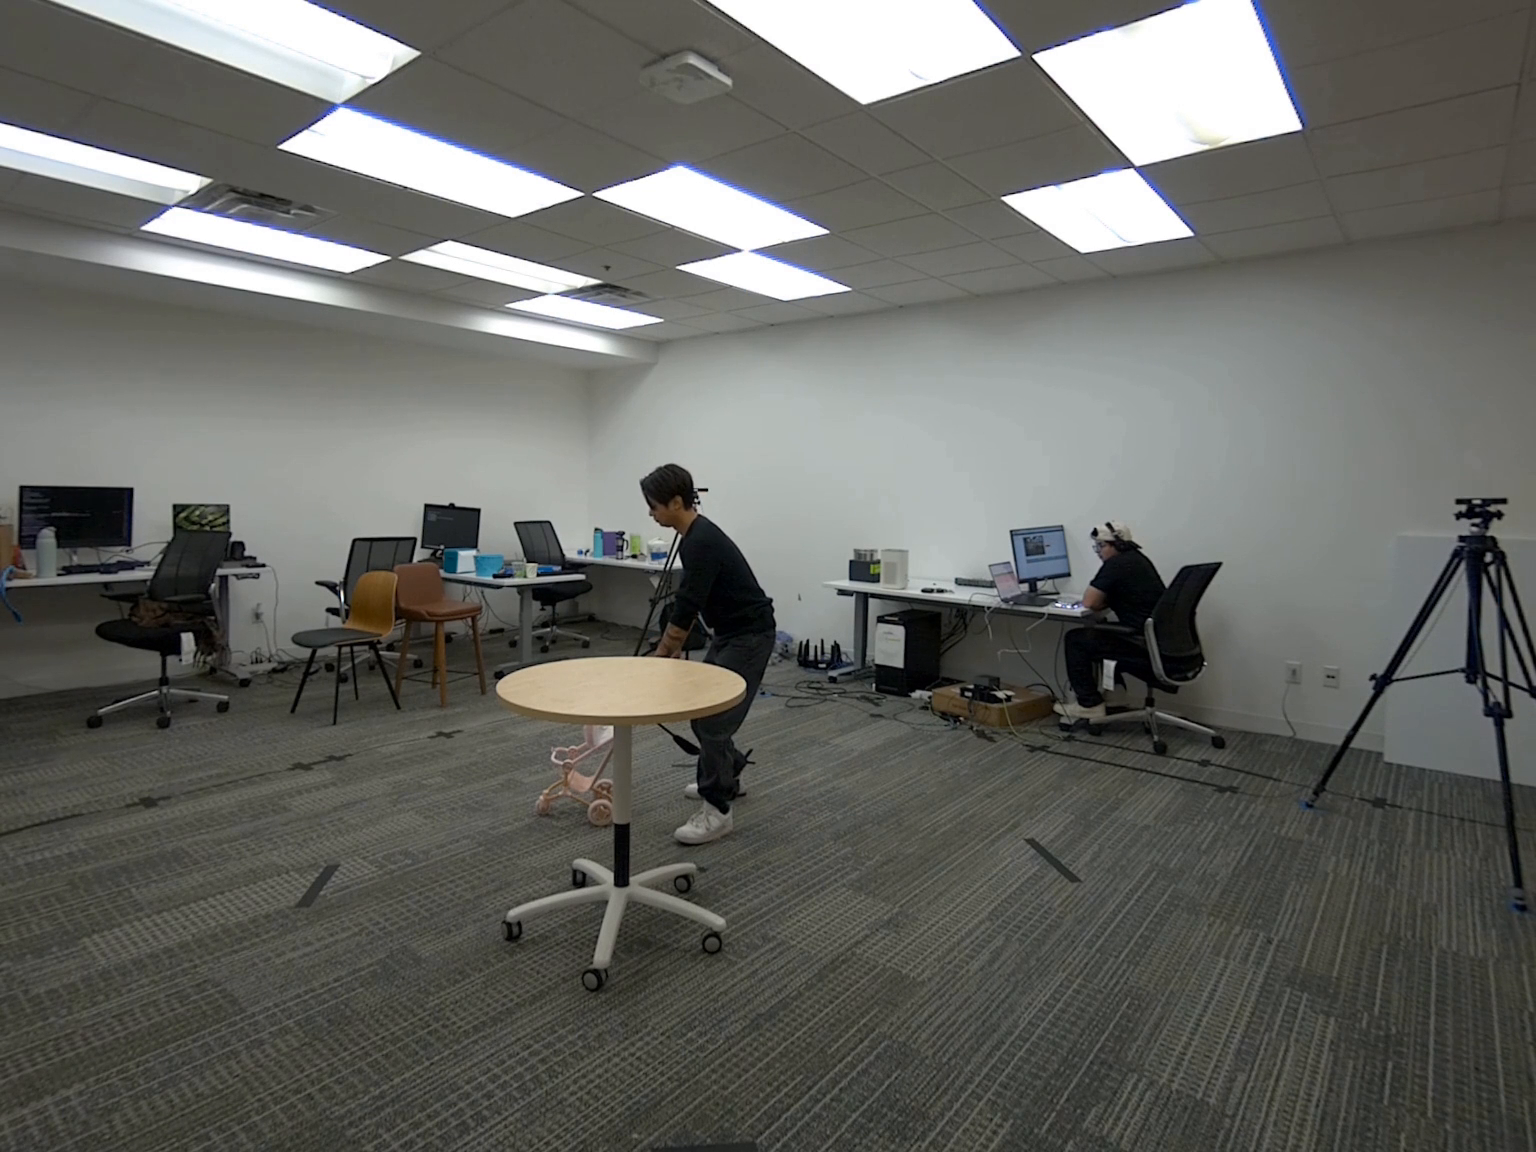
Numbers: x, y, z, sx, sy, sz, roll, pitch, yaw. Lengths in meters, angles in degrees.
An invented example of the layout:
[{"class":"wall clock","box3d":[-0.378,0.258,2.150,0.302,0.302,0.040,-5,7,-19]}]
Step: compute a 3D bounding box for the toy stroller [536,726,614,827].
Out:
[{"class":"toy stroller","box3d":[-0.782,0.791,3.615,0.341,0.534,0.282,16,3,-1]}]
